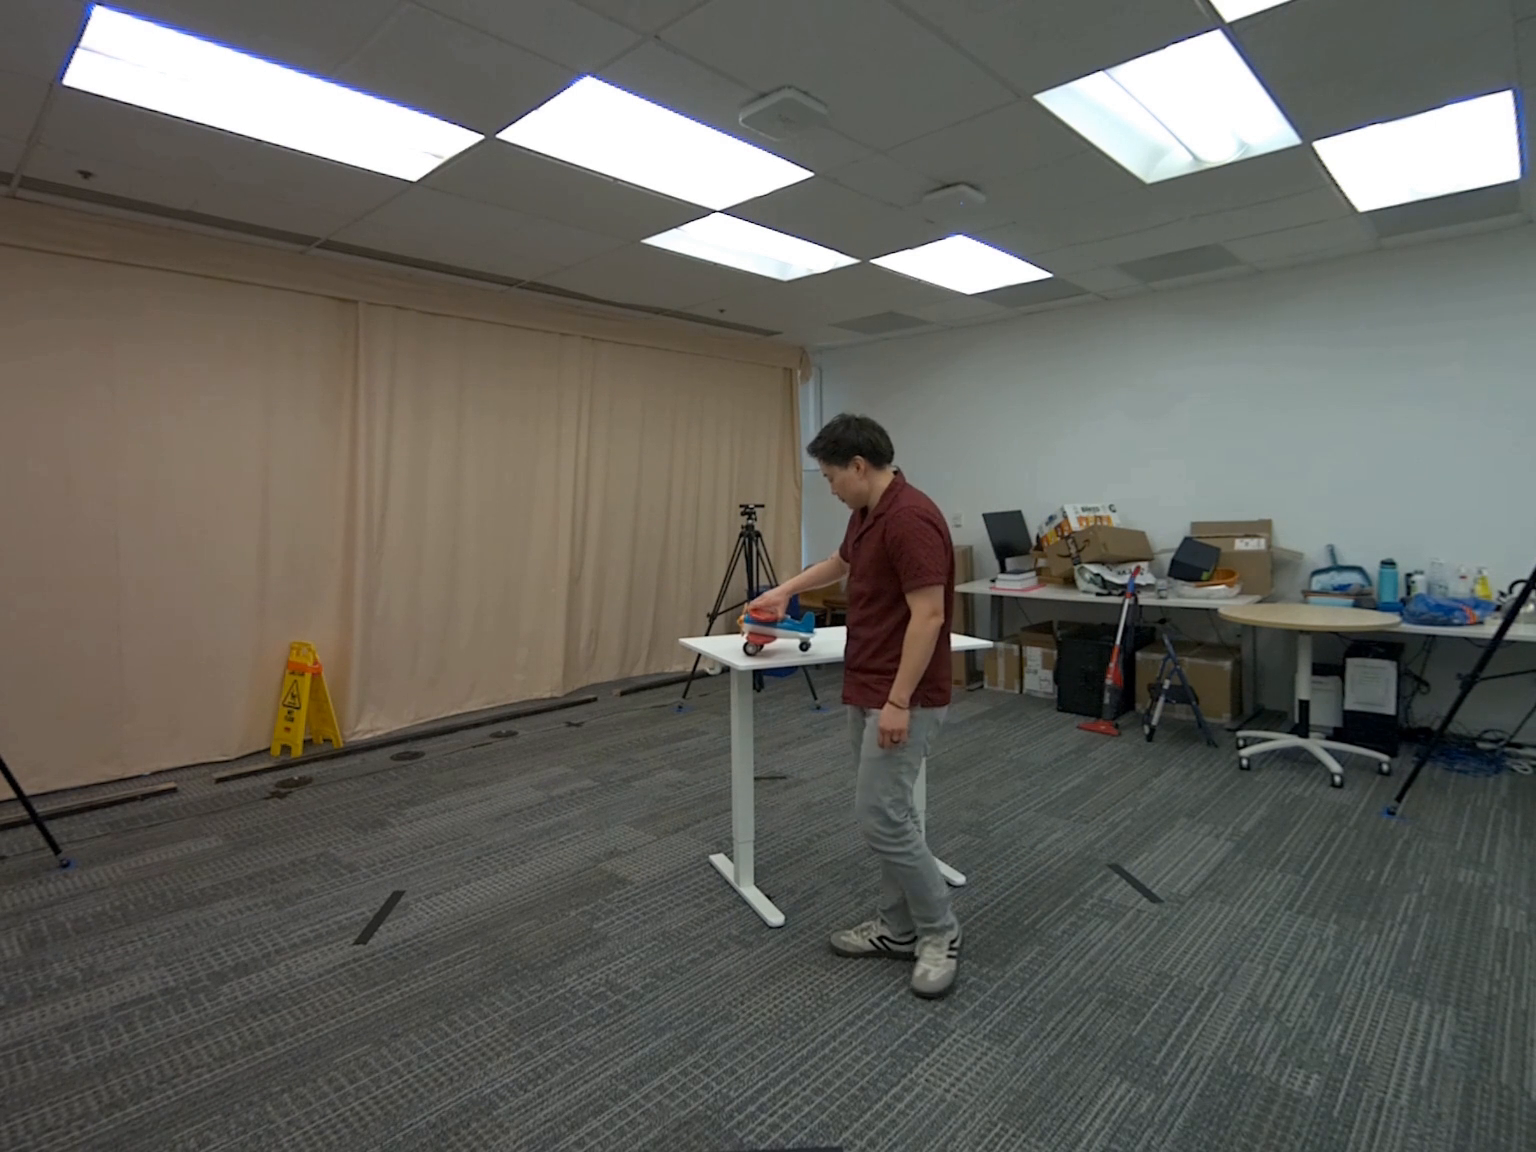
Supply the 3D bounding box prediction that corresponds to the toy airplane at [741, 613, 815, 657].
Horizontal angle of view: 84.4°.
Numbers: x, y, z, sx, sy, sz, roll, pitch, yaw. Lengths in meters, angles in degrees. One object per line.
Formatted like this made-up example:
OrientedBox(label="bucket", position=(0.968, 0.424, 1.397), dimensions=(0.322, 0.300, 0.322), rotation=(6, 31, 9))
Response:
OrientedBox(label="toy airplane", position=(0.037, 0.182, 2.873), dimensions=(0.255, 0.156, 0.256), rotation=(-9, 5, -18))
